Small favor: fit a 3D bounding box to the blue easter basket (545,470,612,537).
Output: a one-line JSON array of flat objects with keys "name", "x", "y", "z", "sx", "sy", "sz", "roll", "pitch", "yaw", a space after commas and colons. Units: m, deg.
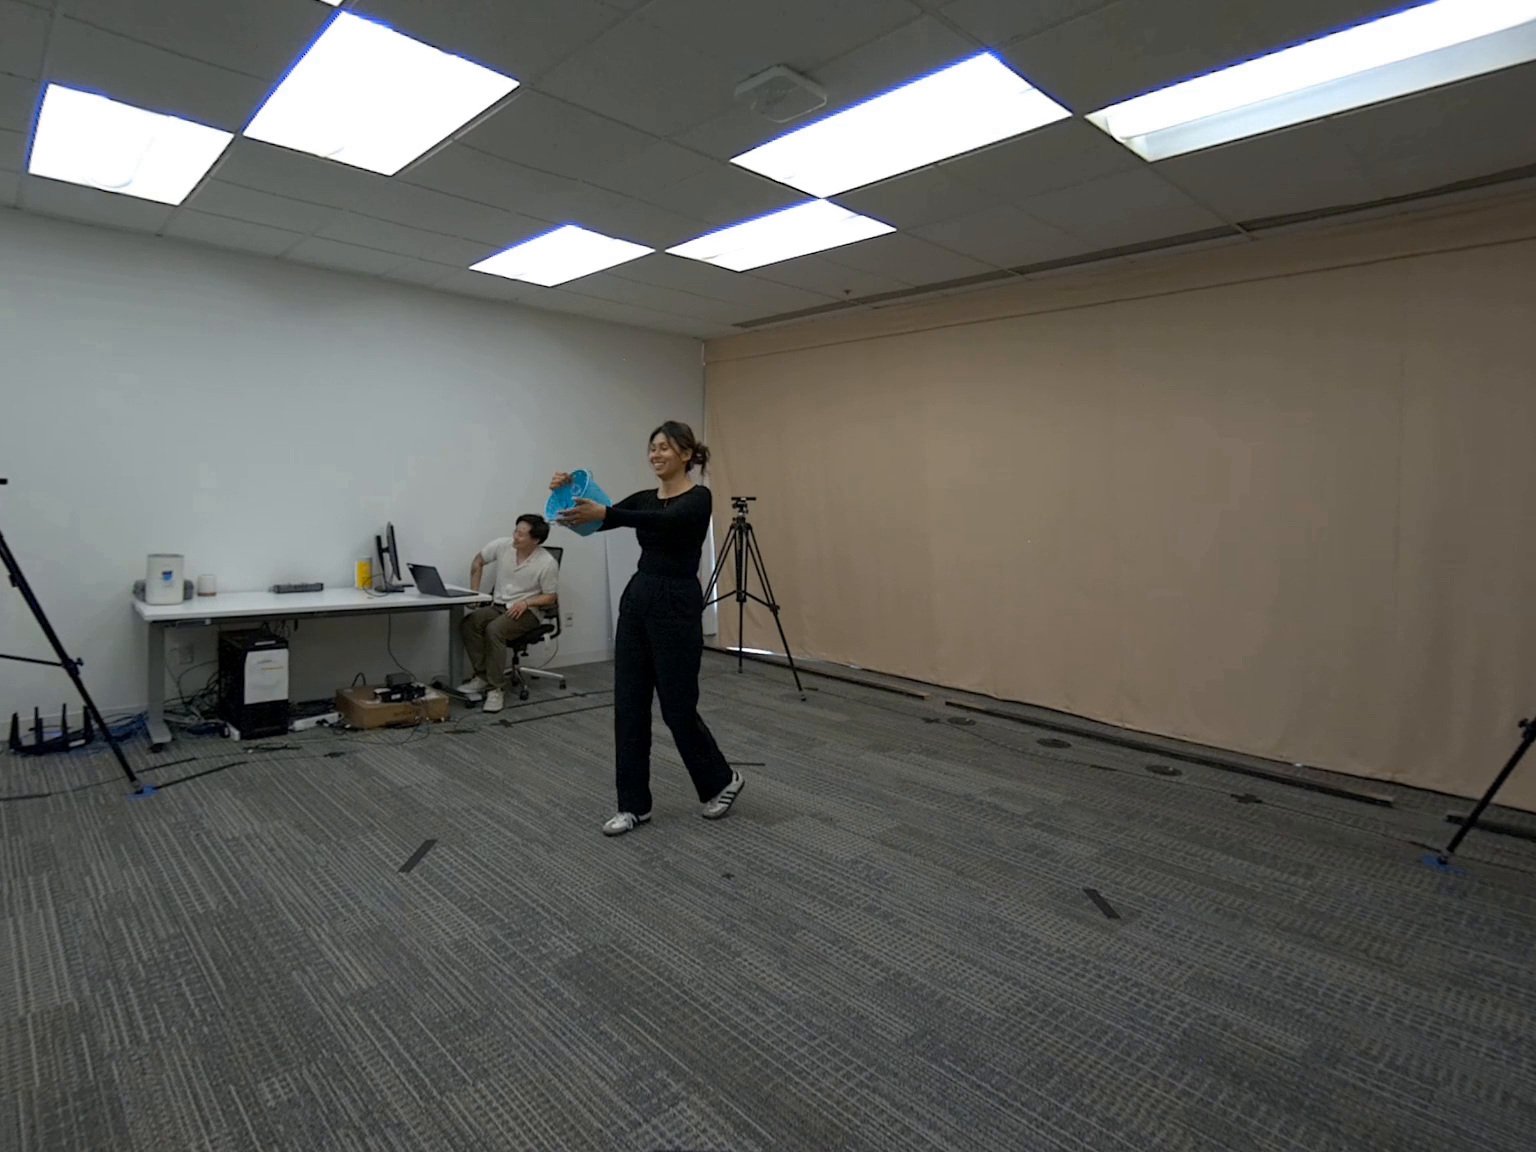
[{"name": "blue easter basket", "x": -0.717, "y": -0.269, "z": 3.178, "sx": 0.250, "sy": 0.245, "sz": 0.151, "roll": 6, "pitch": -29, "yaw": 48}]
